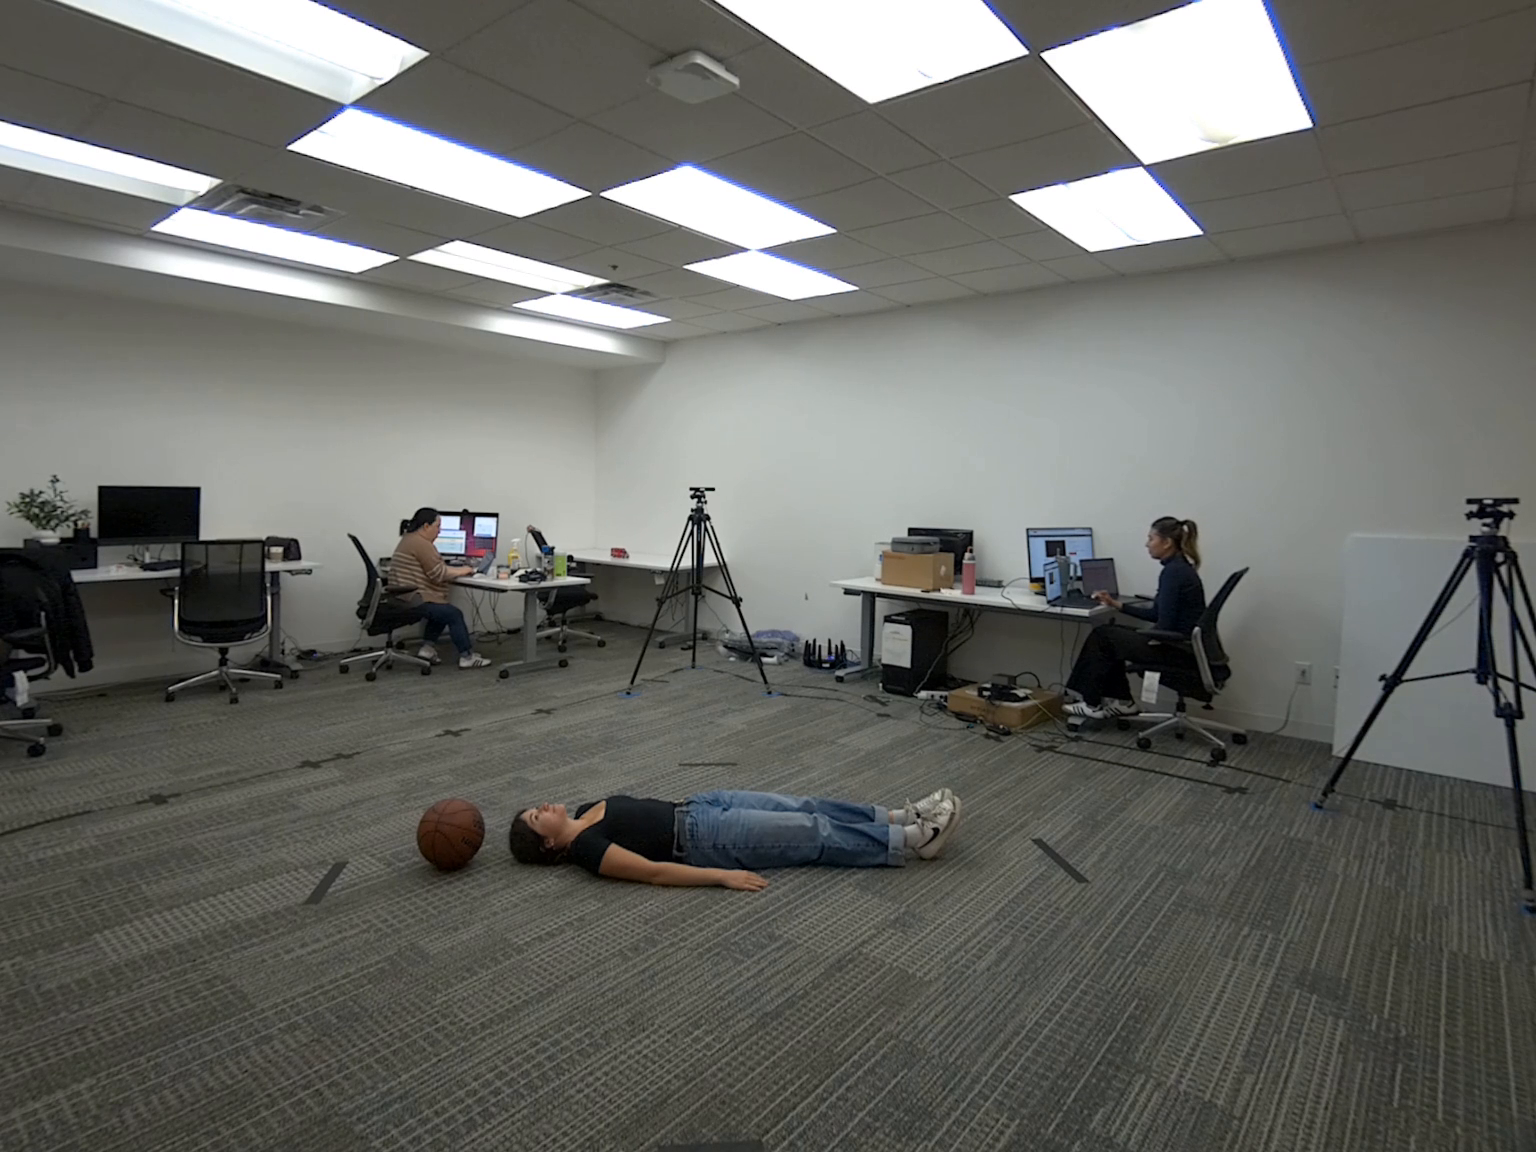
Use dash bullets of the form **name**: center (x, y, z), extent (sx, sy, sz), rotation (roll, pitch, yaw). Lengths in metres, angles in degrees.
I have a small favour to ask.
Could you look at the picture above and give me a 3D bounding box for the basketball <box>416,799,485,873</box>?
- **basketball**: center (-1.166, 0.929, 3.097), extent (0.235, 0.235, 0.237), rotation (1, 4, -2)
